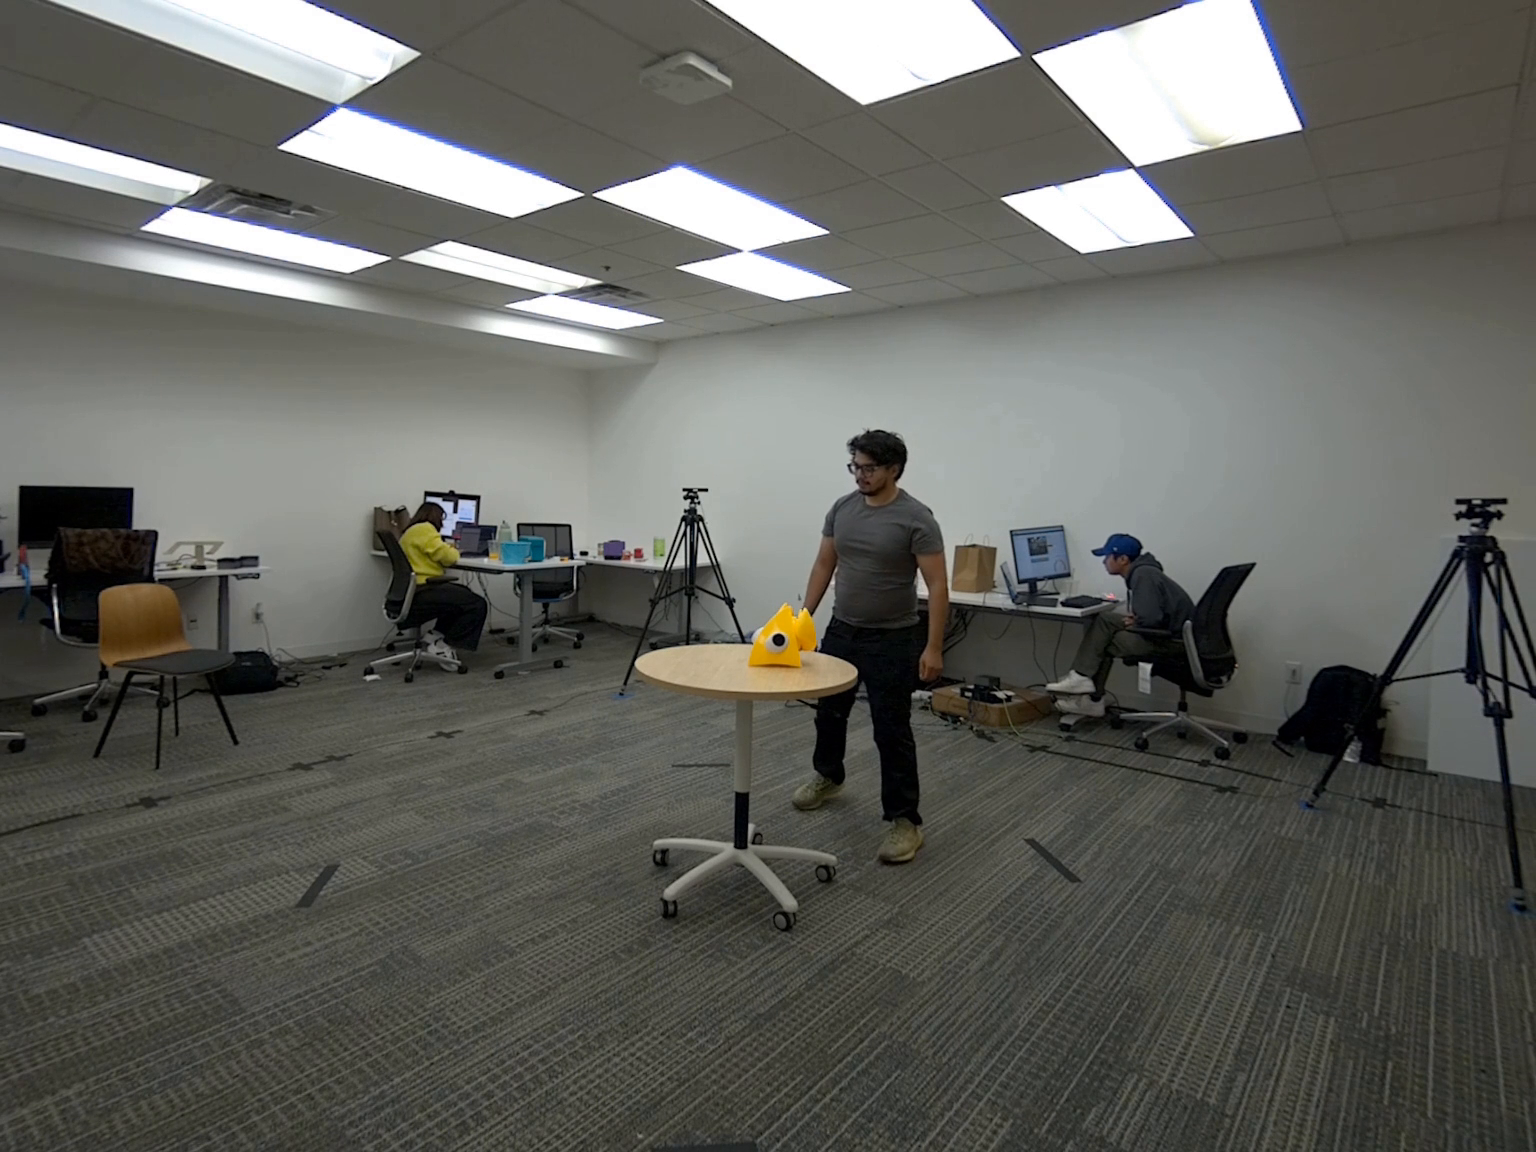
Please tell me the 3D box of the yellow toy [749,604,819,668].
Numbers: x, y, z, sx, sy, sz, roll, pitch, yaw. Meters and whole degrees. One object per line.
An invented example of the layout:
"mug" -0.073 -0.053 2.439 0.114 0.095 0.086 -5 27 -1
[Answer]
"yellow toy" 0.012 0.218 2.972 0.226 0.191 0.211 -15 13 -27
